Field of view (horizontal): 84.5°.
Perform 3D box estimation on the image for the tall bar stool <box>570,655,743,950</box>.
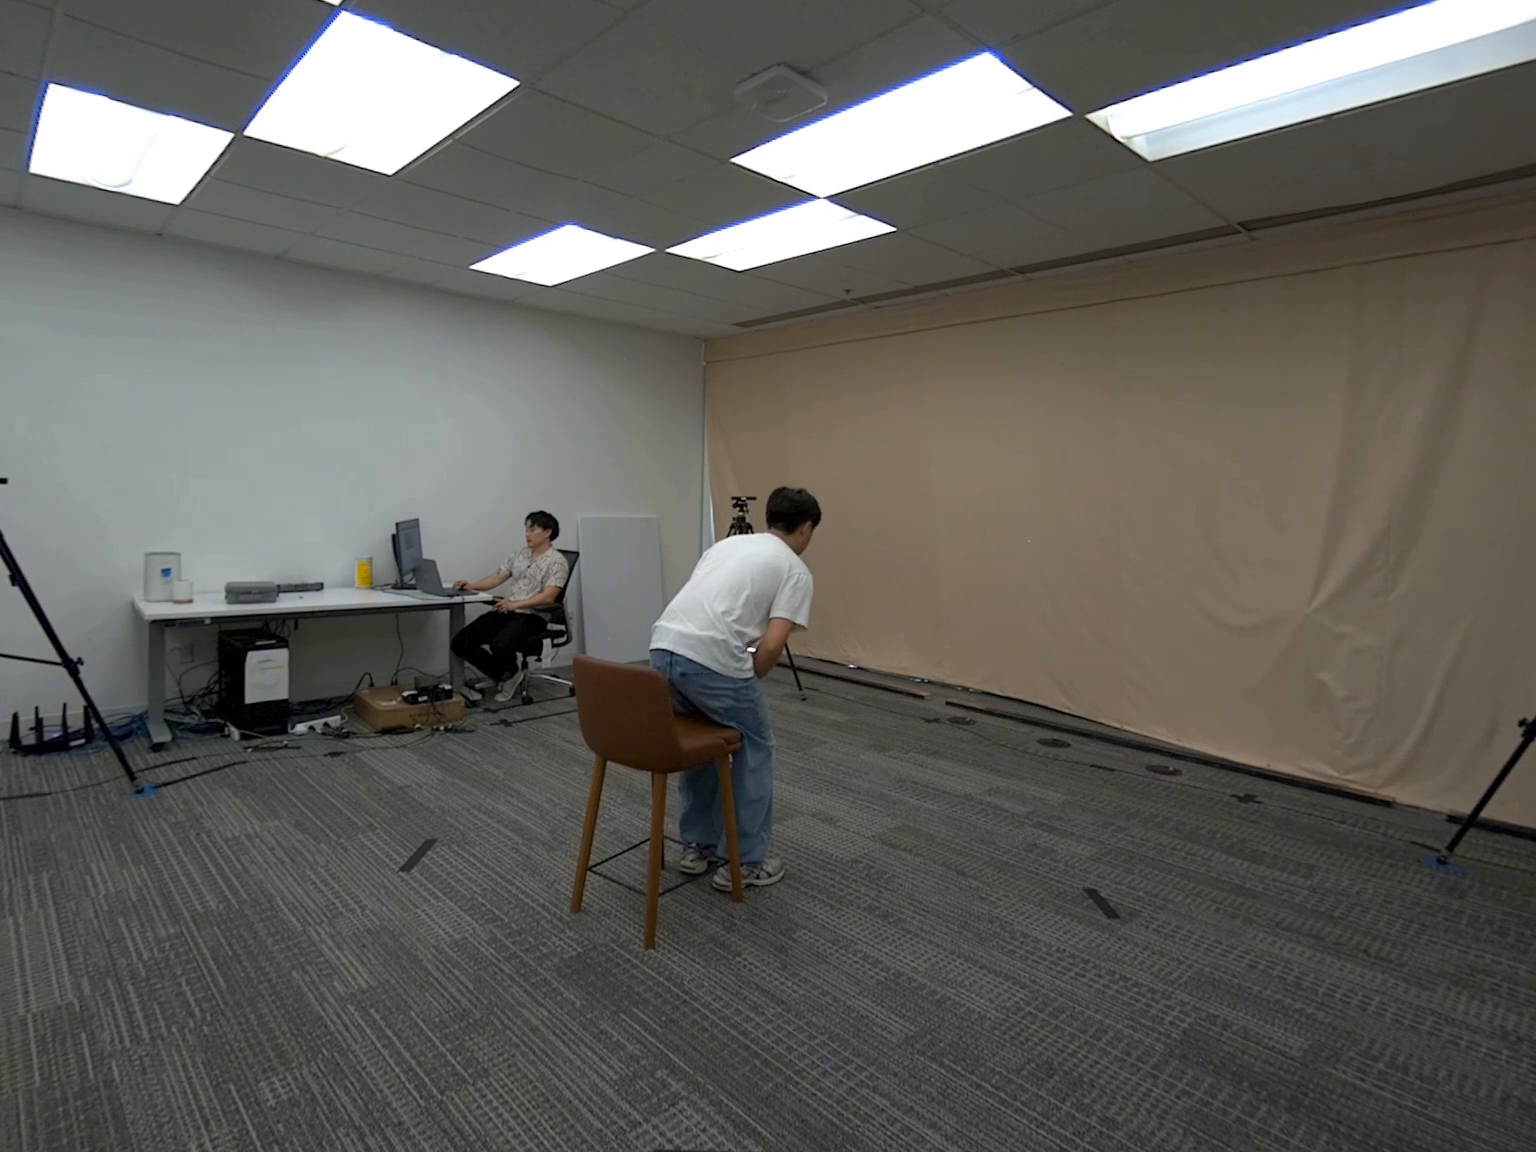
[{"bbox_3d":[-0.382,0.688,2.843,0.468,0.887,0.457,4,5,38],"label":"tall bar stool"}]
